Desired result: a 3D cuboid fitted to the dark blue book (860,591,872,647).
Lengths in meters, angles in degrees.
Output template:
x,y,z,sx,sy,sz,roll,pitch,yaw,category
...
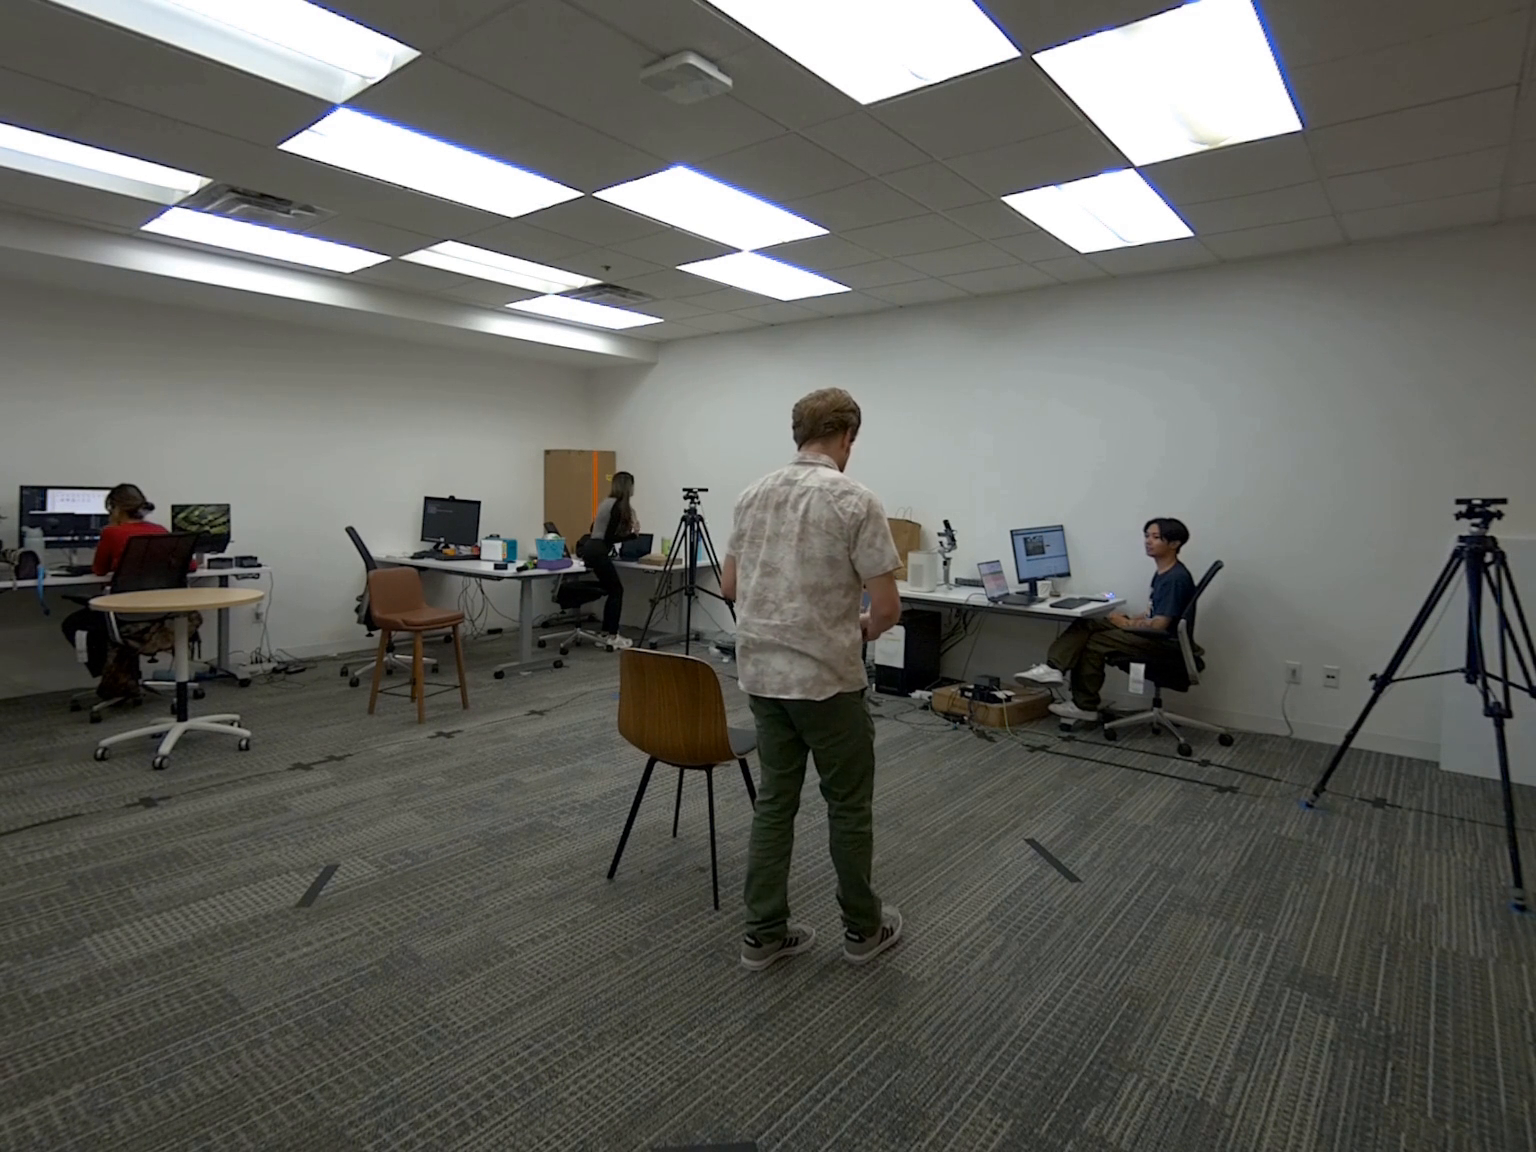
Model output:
x,y,z,sx,sy,sz,roll,pitch,yaw,category
0.229,0.149,2.722,0.168,0.044,0.246,-3,38,34,dark blue book
